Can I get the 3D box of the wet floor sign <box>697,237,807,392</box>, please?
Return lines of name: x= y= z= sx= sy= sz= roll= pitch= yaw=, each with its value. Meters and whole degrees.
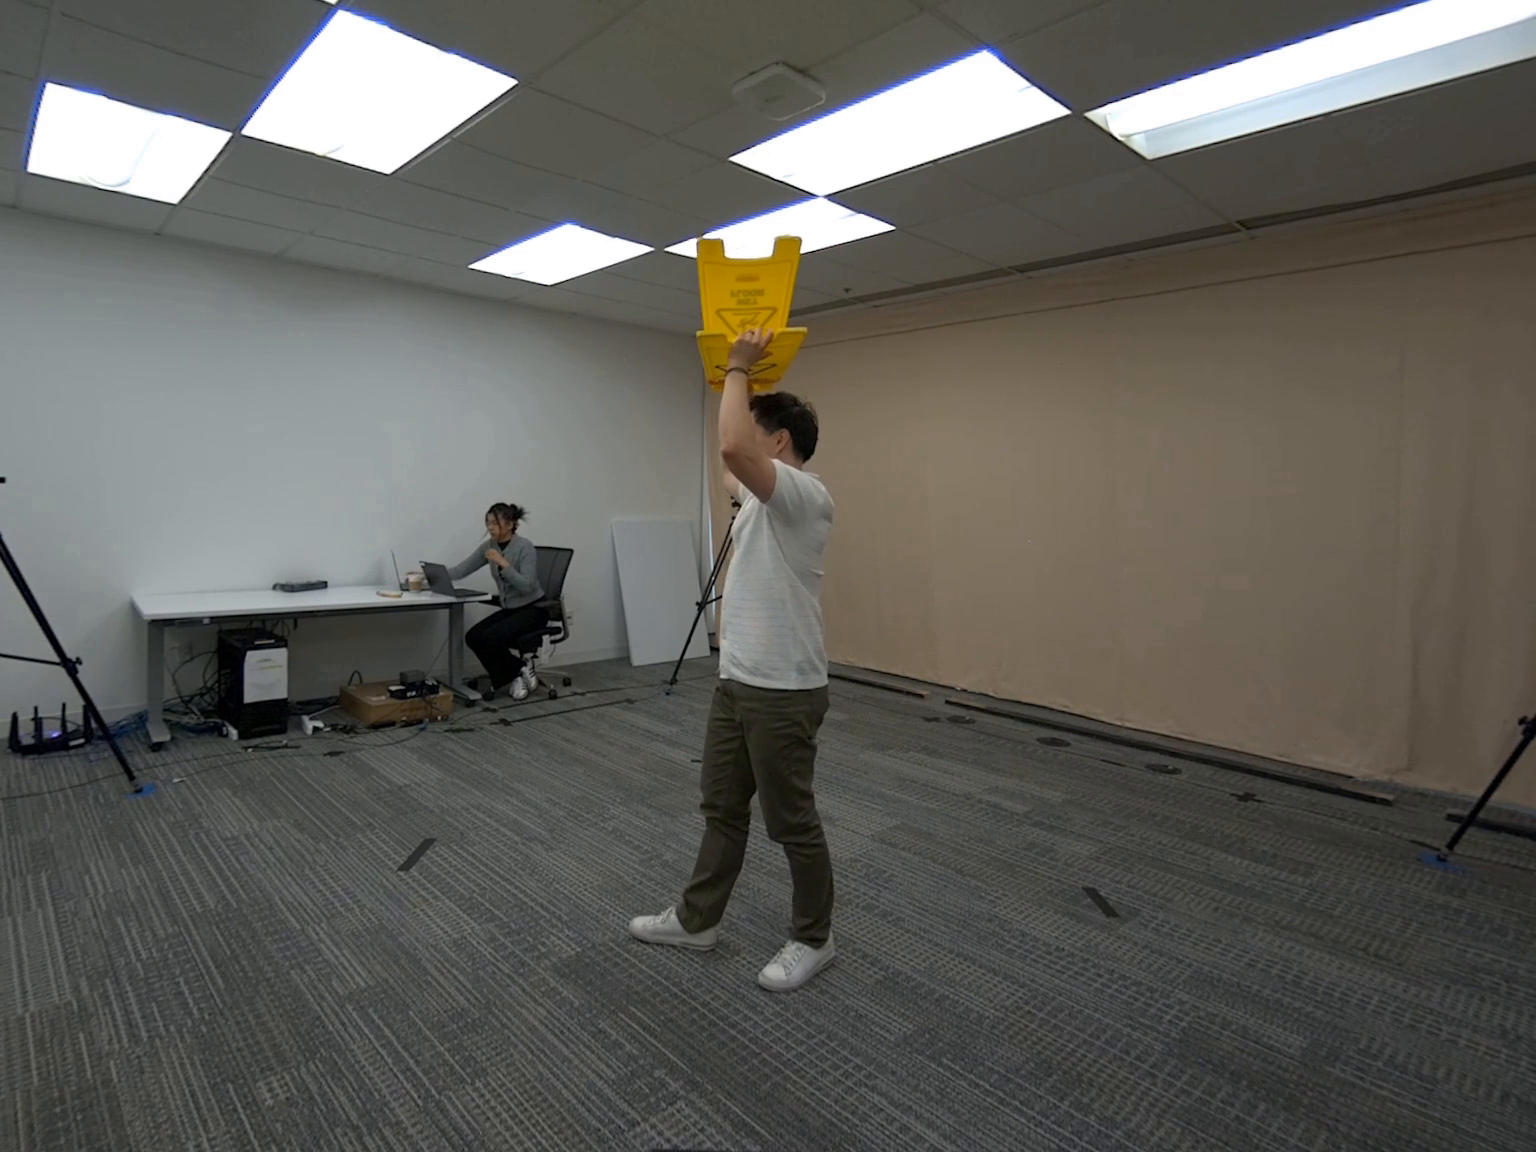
wet floor sign: x=-0.065 y=-0.681 z=2.436 sx=0.282 sy=0.292 sz=0.641 roll=-2 pitch=-10 yaw=-2
